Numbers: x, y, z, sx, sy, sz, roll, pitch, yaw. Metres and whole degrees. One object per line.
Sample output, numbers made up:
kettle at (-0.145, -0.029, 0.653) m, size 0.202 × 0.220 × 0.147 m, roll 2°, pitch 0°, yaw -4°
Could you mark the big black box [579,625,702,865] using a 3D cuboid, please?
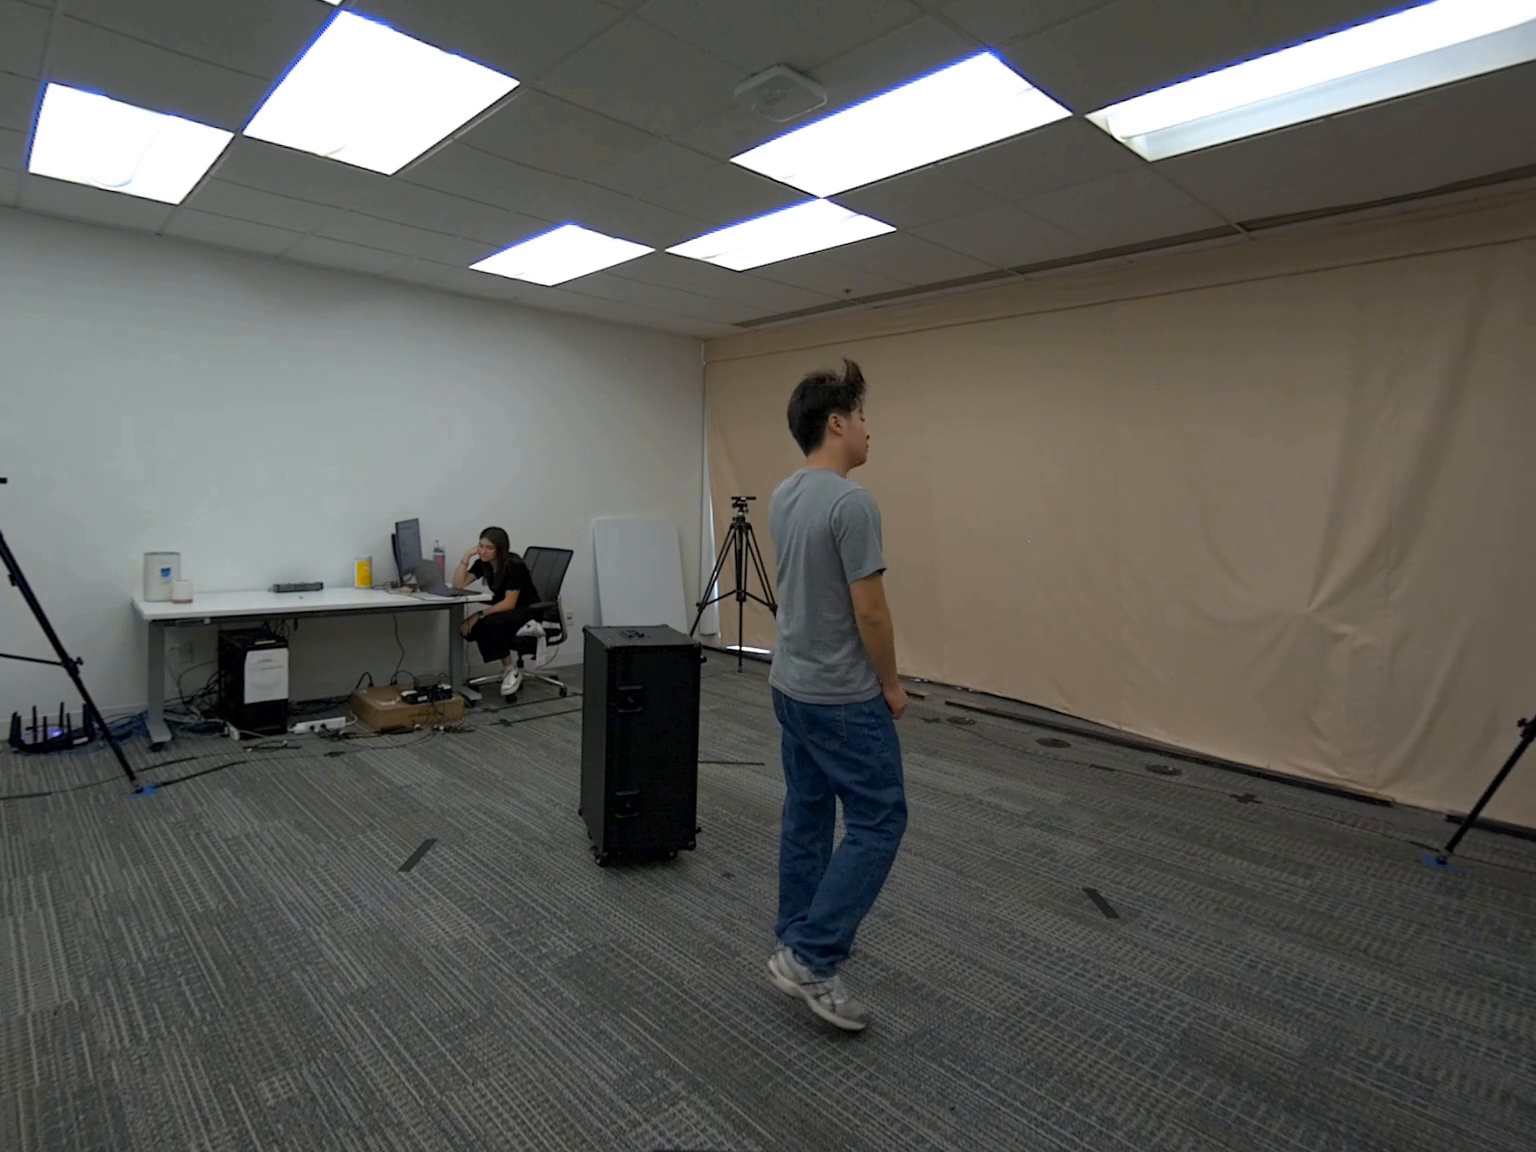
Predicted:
big black box at (-0.514, 0.651, 3.312) m, size 0.390 × 0.860 × 0.531 m, roll 2°, pitch 3°, yaw -22°
